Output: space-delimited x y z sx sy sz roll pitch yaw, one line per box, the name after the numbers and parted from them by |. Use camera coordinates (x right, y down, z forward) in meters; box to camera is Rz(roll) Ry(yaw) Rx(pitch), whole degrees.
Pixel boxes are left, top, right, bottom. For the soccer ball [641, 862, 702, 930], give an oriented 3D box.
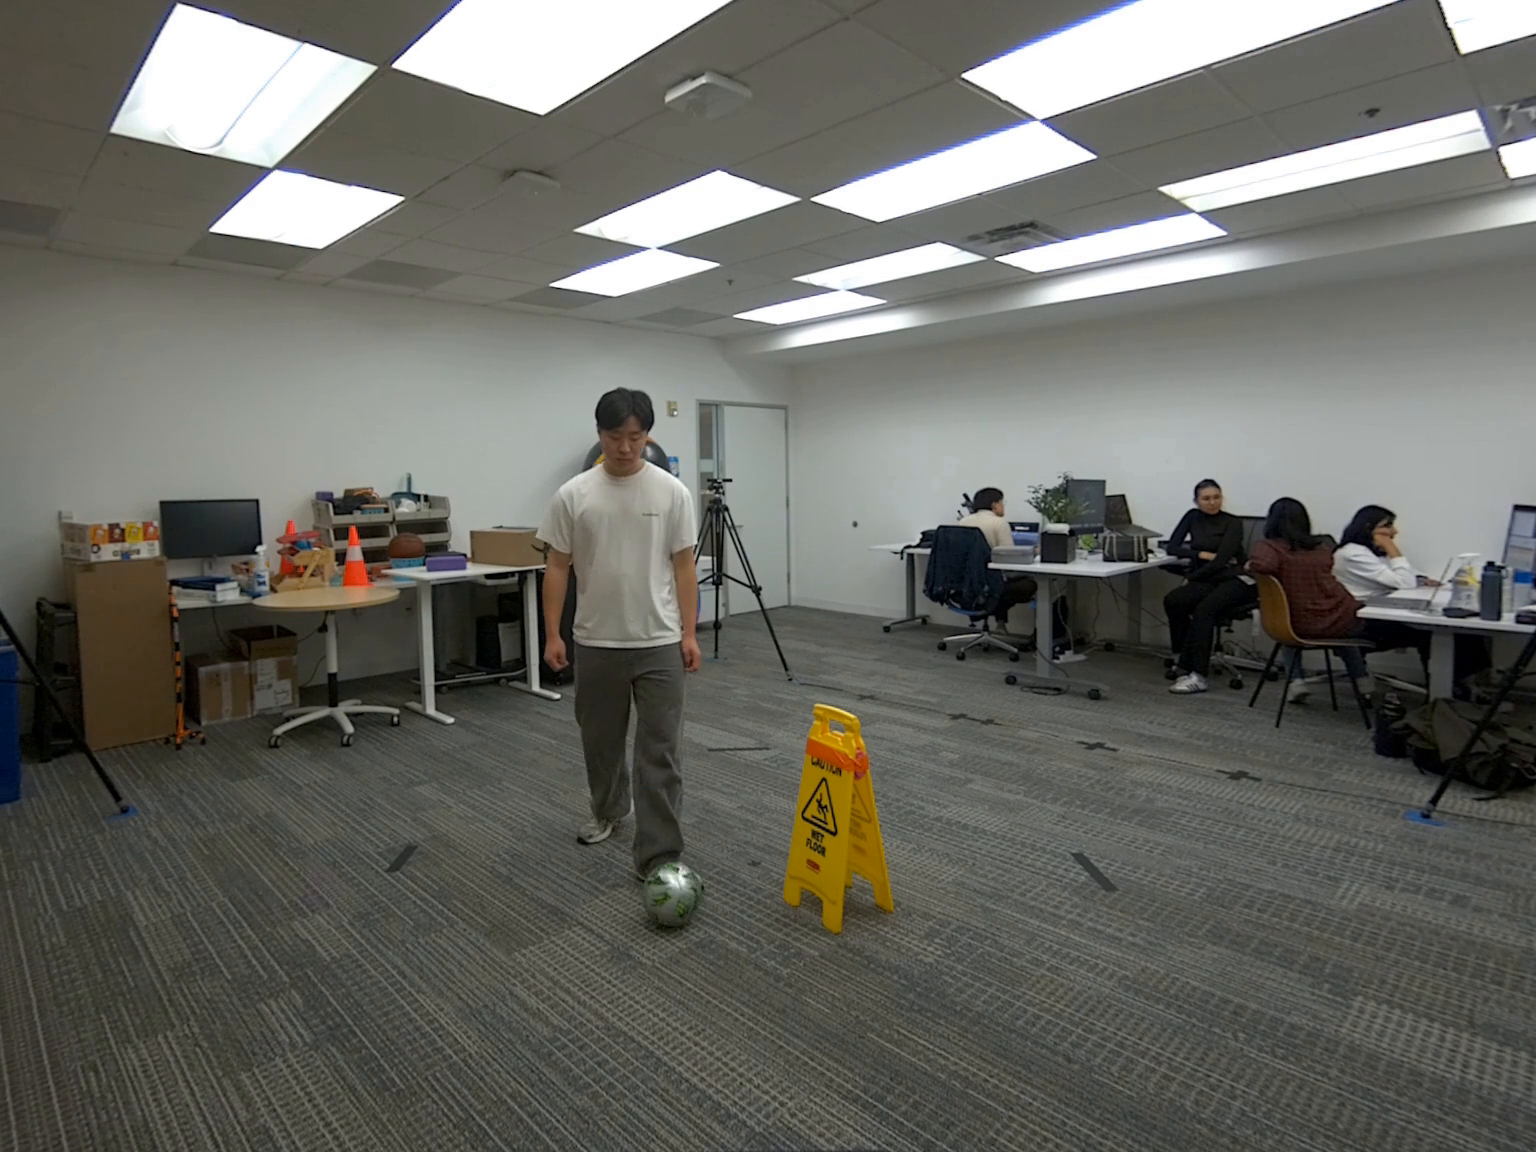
-0.304 1.007 2.708 0.187 0.187 0.188 -1 5 -2 | soccer ball
